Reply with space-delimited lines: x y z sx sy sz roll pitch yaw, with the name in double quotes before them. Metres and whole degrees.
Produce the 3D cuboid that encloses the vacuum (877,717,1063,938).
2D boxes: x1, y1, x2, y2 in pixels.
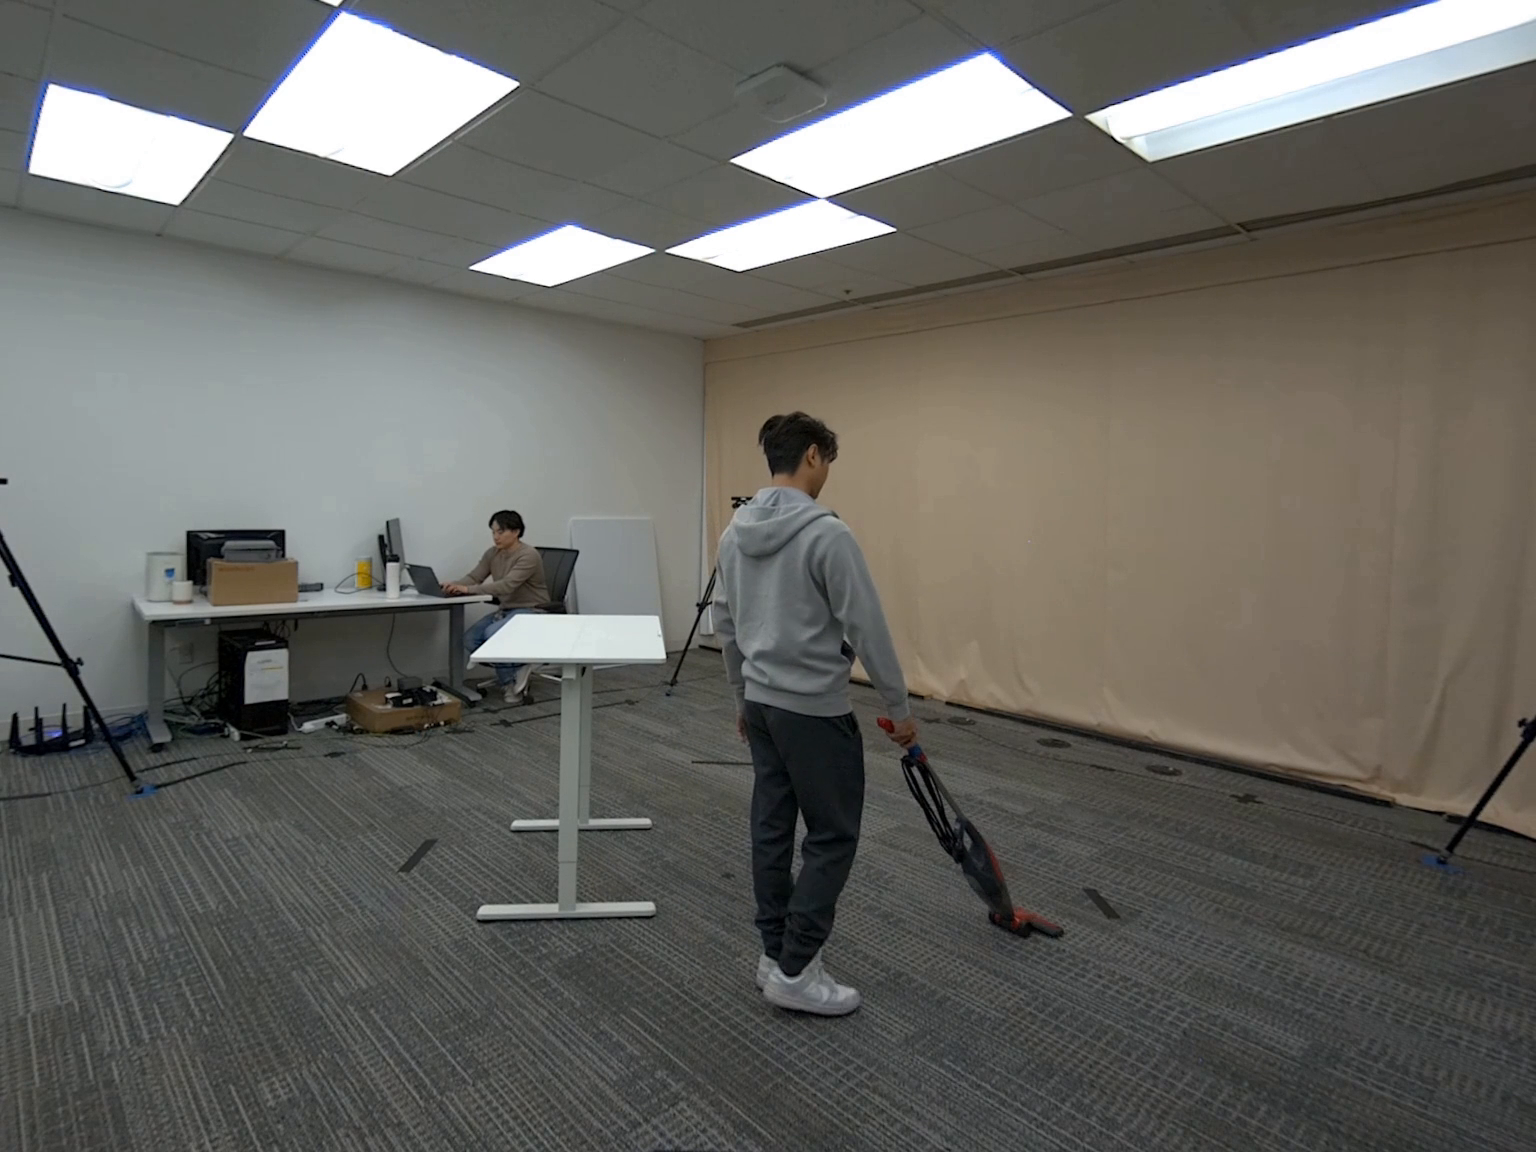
"vacuum" 0.572 0.777 2.567 0.259 1.023 0.144 3 44 49
